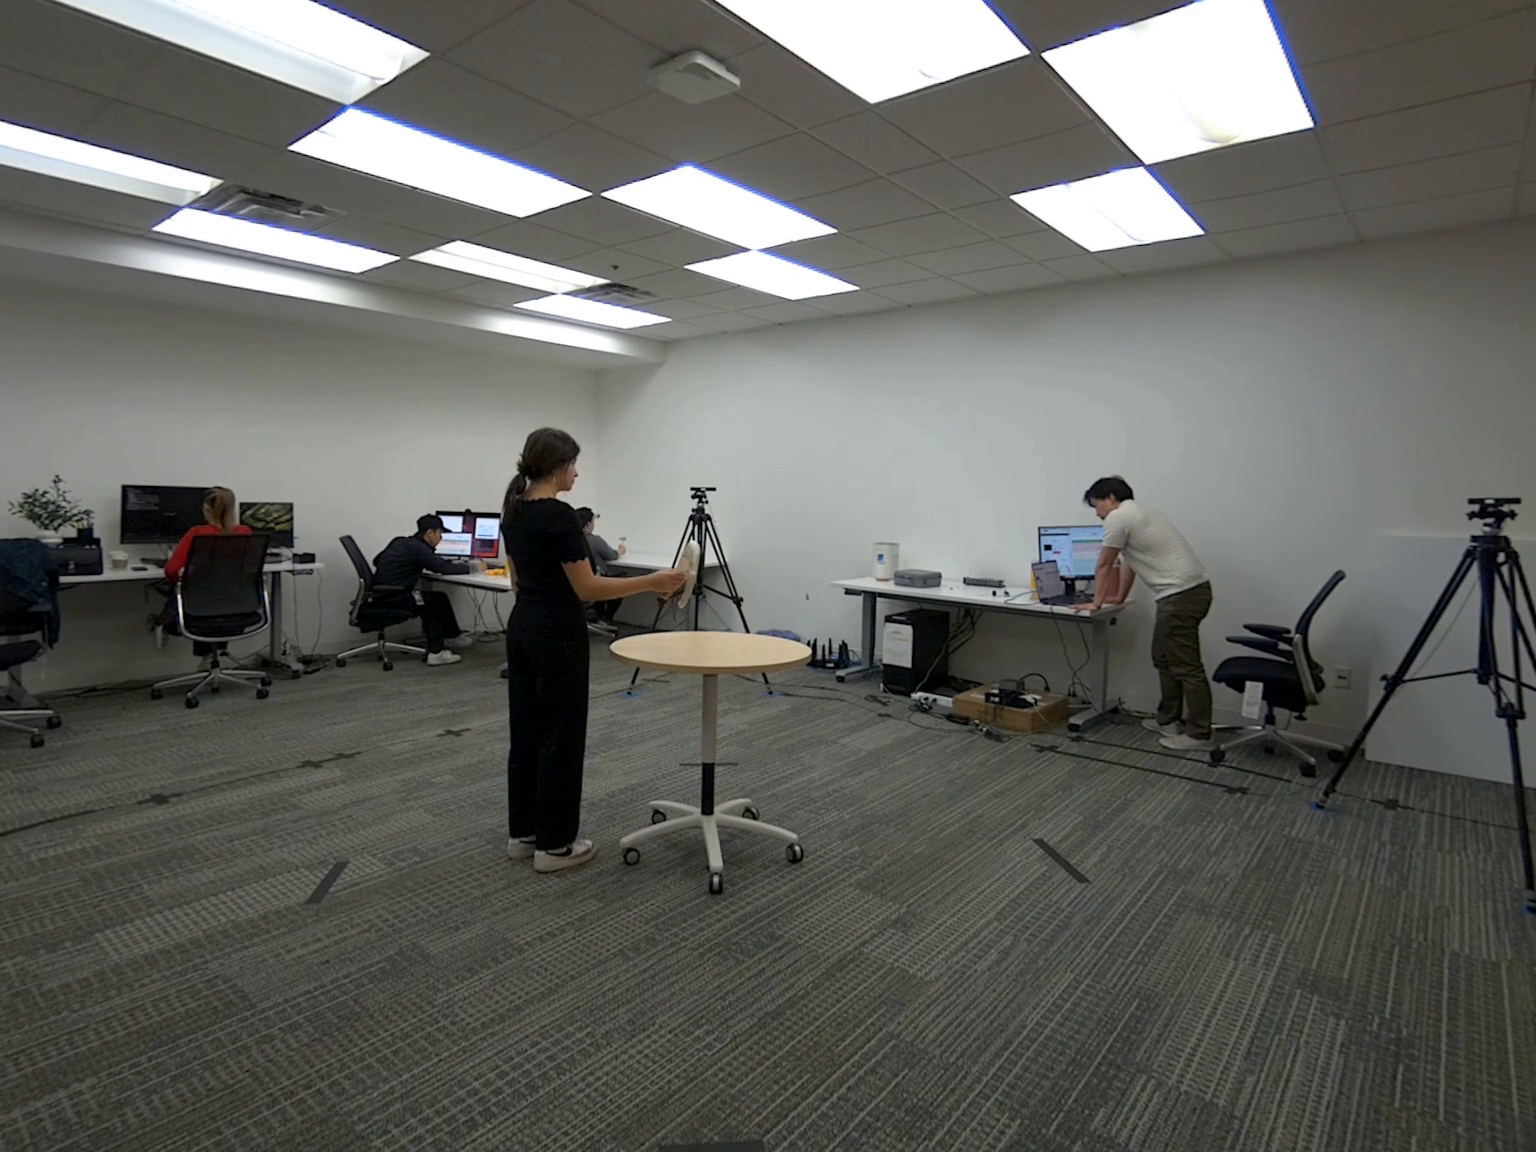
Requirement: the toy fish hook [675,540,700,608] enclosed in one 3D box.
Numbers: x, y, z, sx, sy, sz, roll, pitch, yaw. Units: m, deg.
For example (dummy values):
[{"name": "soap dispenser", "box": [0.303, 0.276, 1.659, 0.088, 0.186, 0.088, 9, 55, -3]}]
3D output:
[{"name": "toy fish hook", "box": [-0.337, 0.039, 3.060, 0.048, 0.228, 0.504, 14, -23, -12]}]
